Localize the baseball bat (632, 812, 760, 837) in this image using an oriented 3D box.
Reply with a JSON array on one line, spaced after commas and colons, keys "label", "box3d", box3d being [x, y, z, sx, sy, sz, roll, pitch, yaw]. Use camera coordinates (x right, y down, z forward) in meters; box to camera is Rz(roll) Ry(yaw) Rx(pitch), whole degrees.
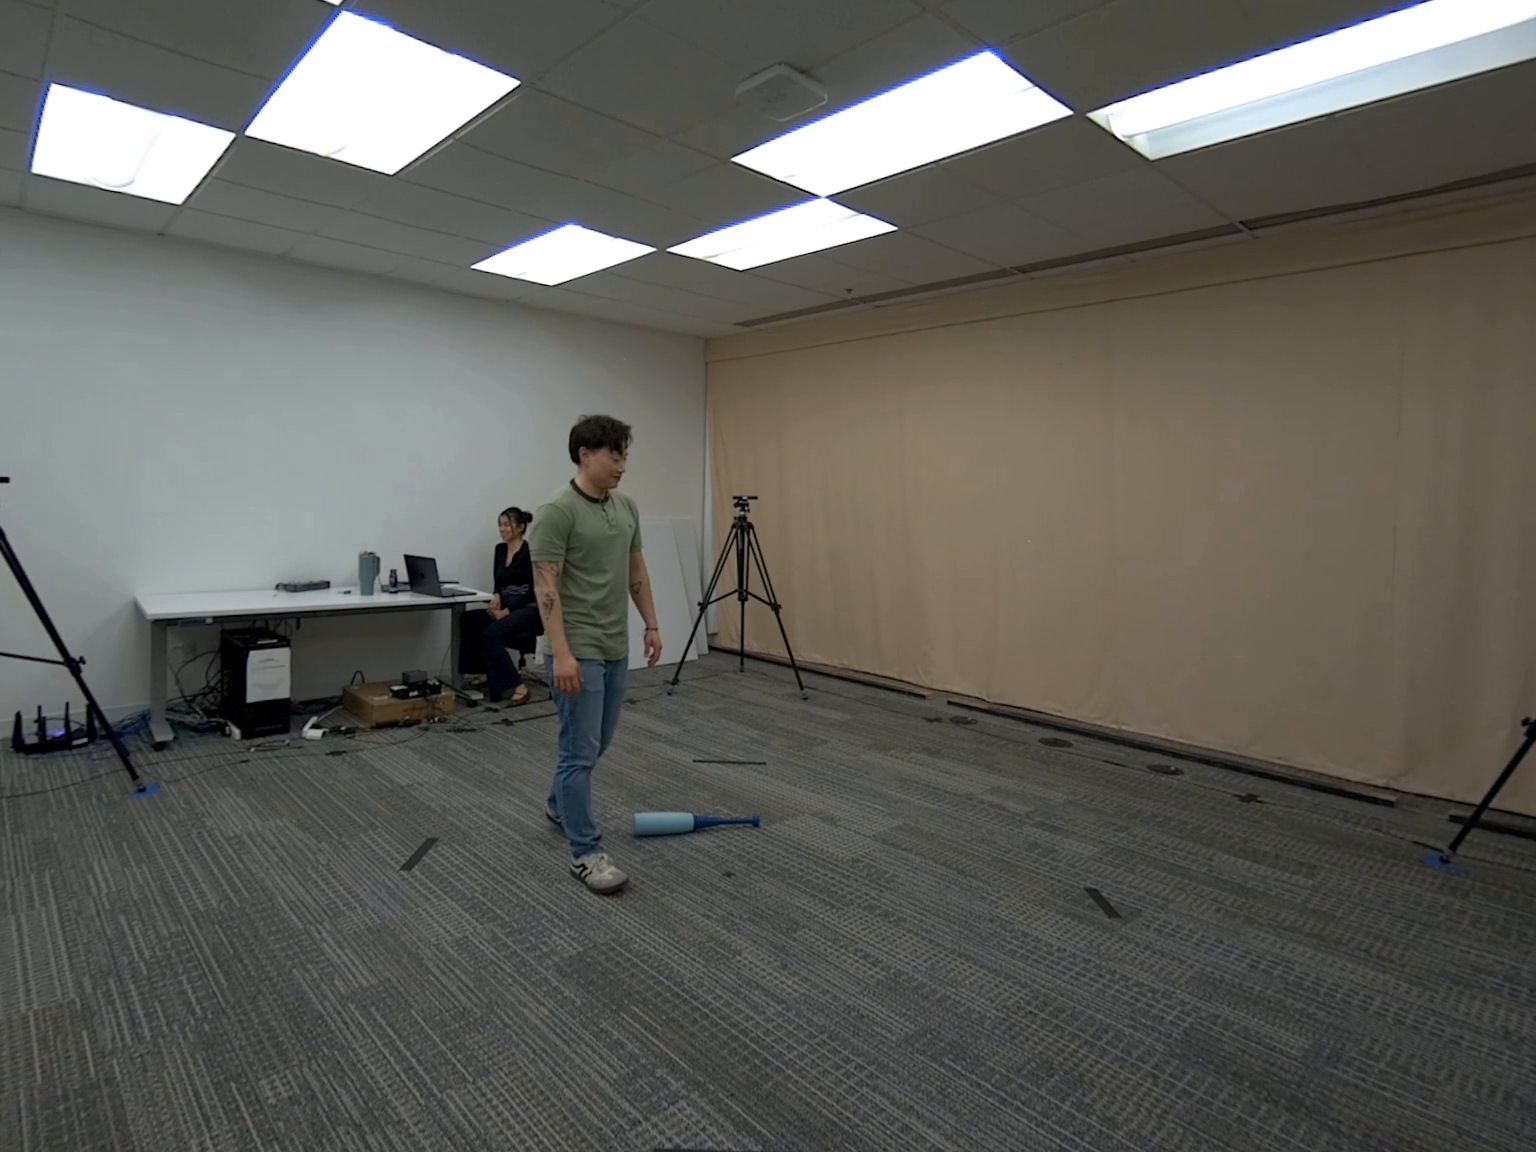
[{"label": "baseball bat", "box3d": [-0.306, 1.028, 3.505, 0.536, 0.089, 0.090, 3, 4, -15]}]
